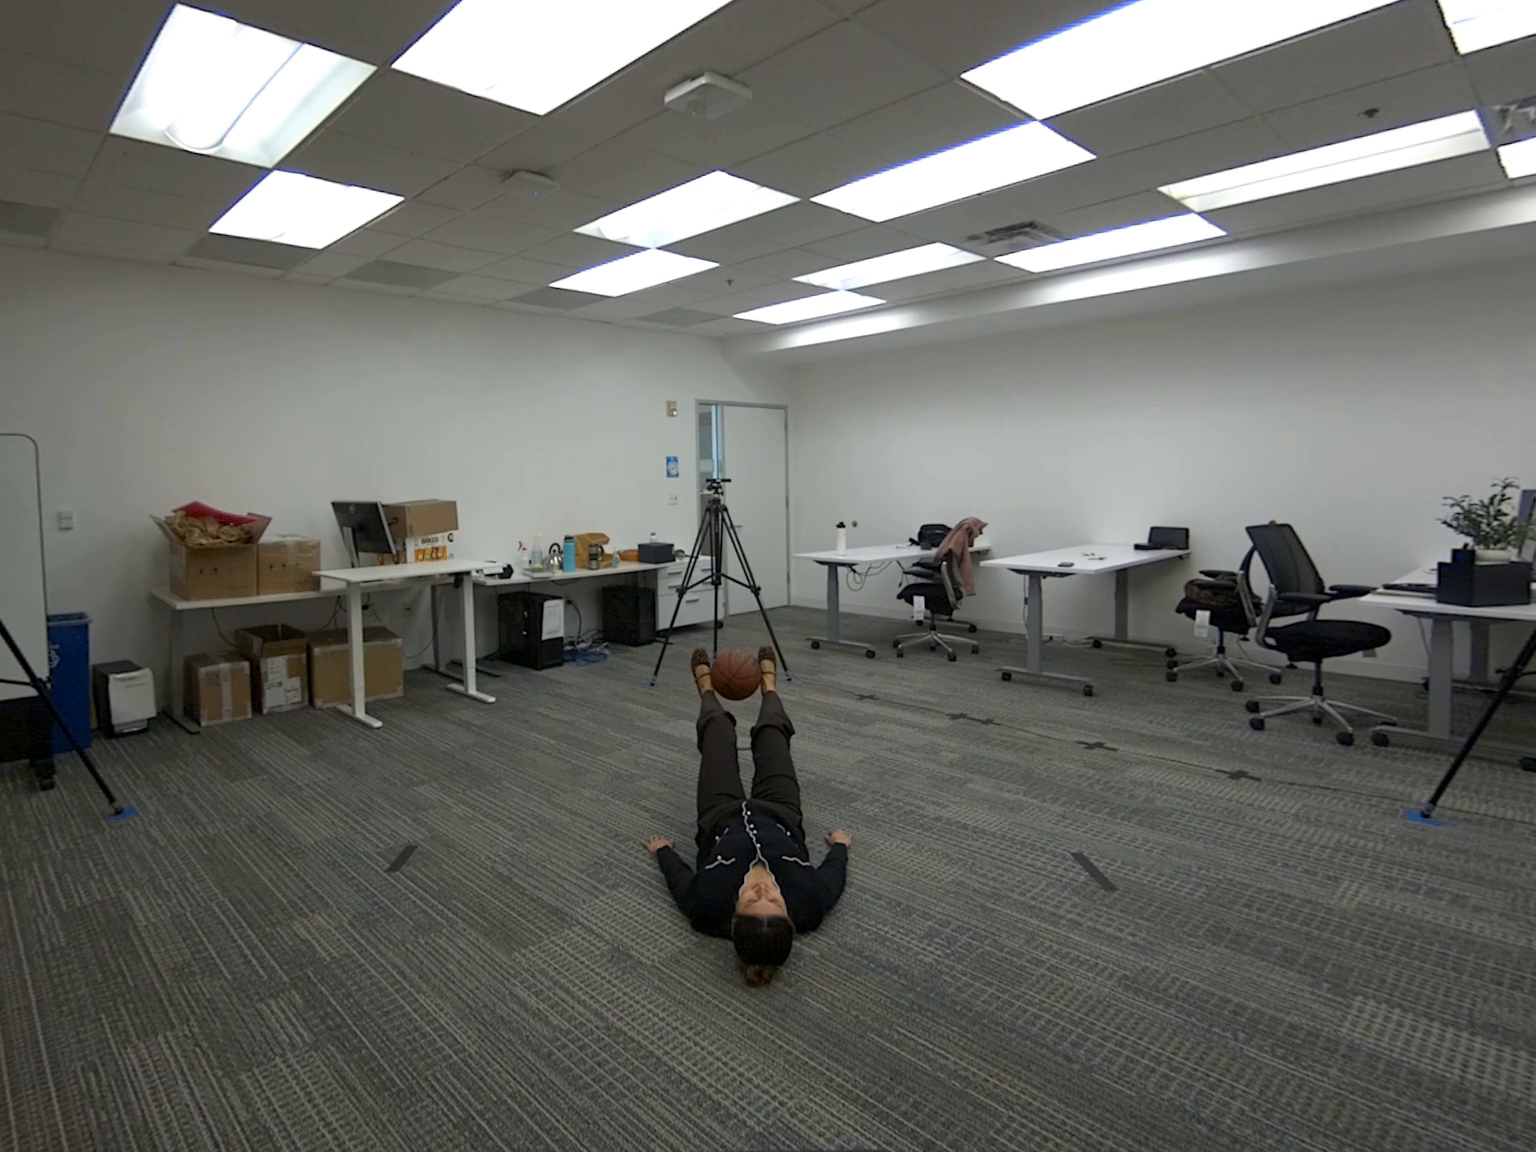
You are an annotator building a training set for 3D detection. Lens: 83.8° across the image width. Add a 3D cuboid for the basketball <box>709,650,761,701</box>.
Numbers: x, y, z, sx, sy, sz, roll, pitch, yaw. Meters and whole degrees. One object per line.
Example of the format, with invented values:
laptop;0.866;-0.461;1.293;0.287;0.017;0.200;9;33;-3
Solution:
basketball;-0.144;0.449;3.930;0.236;0.235;0.237;-4;4;-1
